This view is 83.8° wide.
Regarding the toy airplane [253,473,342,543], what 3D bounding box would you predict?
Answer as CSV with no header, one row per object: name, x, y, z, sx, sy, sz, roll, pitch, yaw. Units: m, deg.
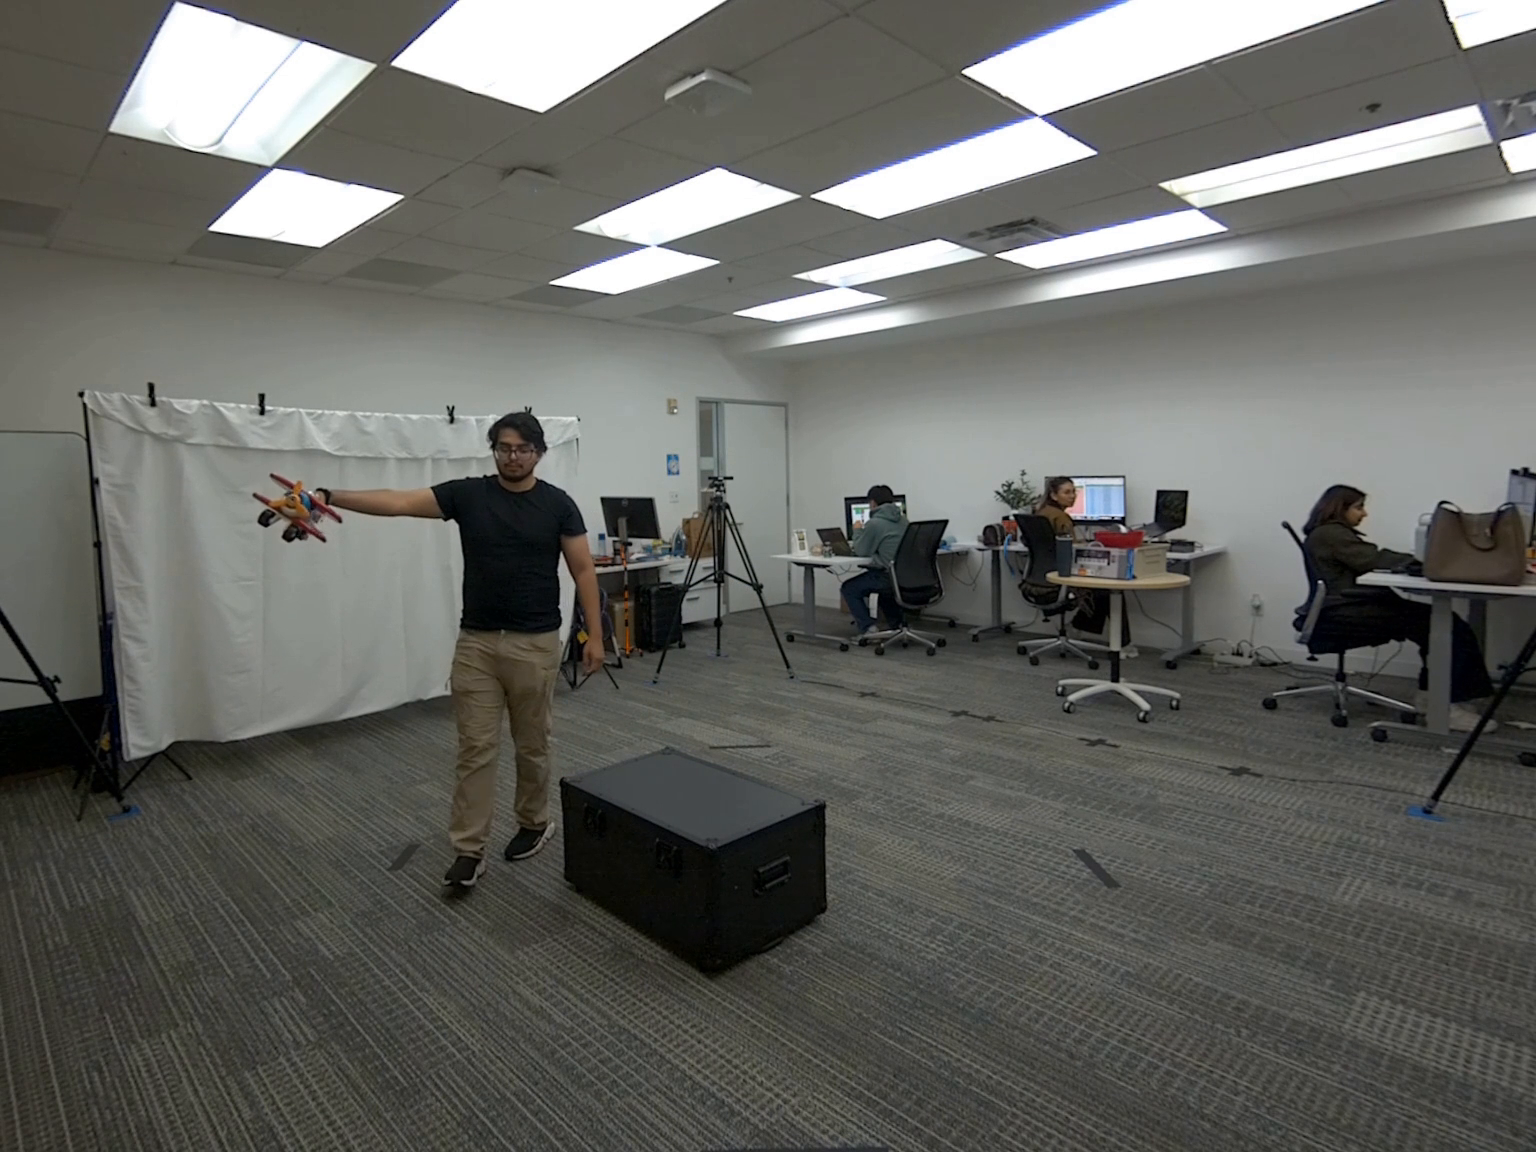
toy airplane,-1.505,-0.201,2.694,0.242,0.156,0.268,40,-9,-36
